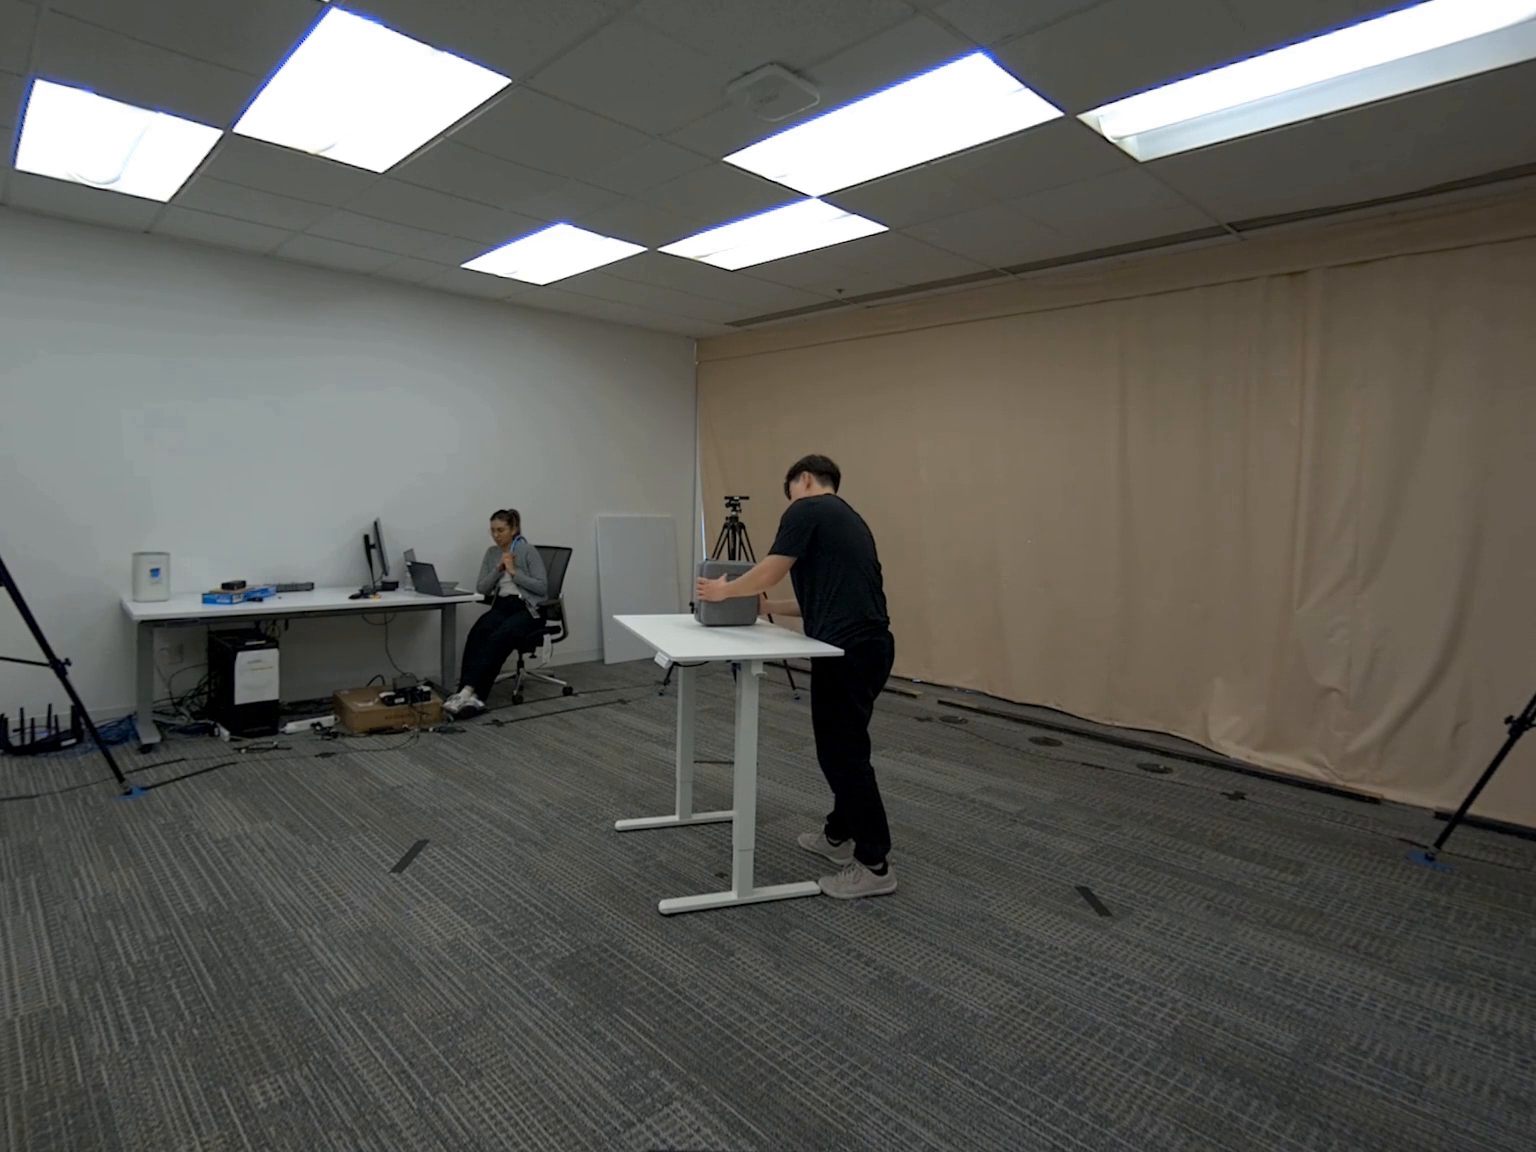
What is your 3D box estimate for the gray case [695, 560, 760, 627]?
[{"bbox_3d":[-0.167,0.068,3.375,0.252,0.260,0.106,3,0,-26],"label":"gray case"}]
